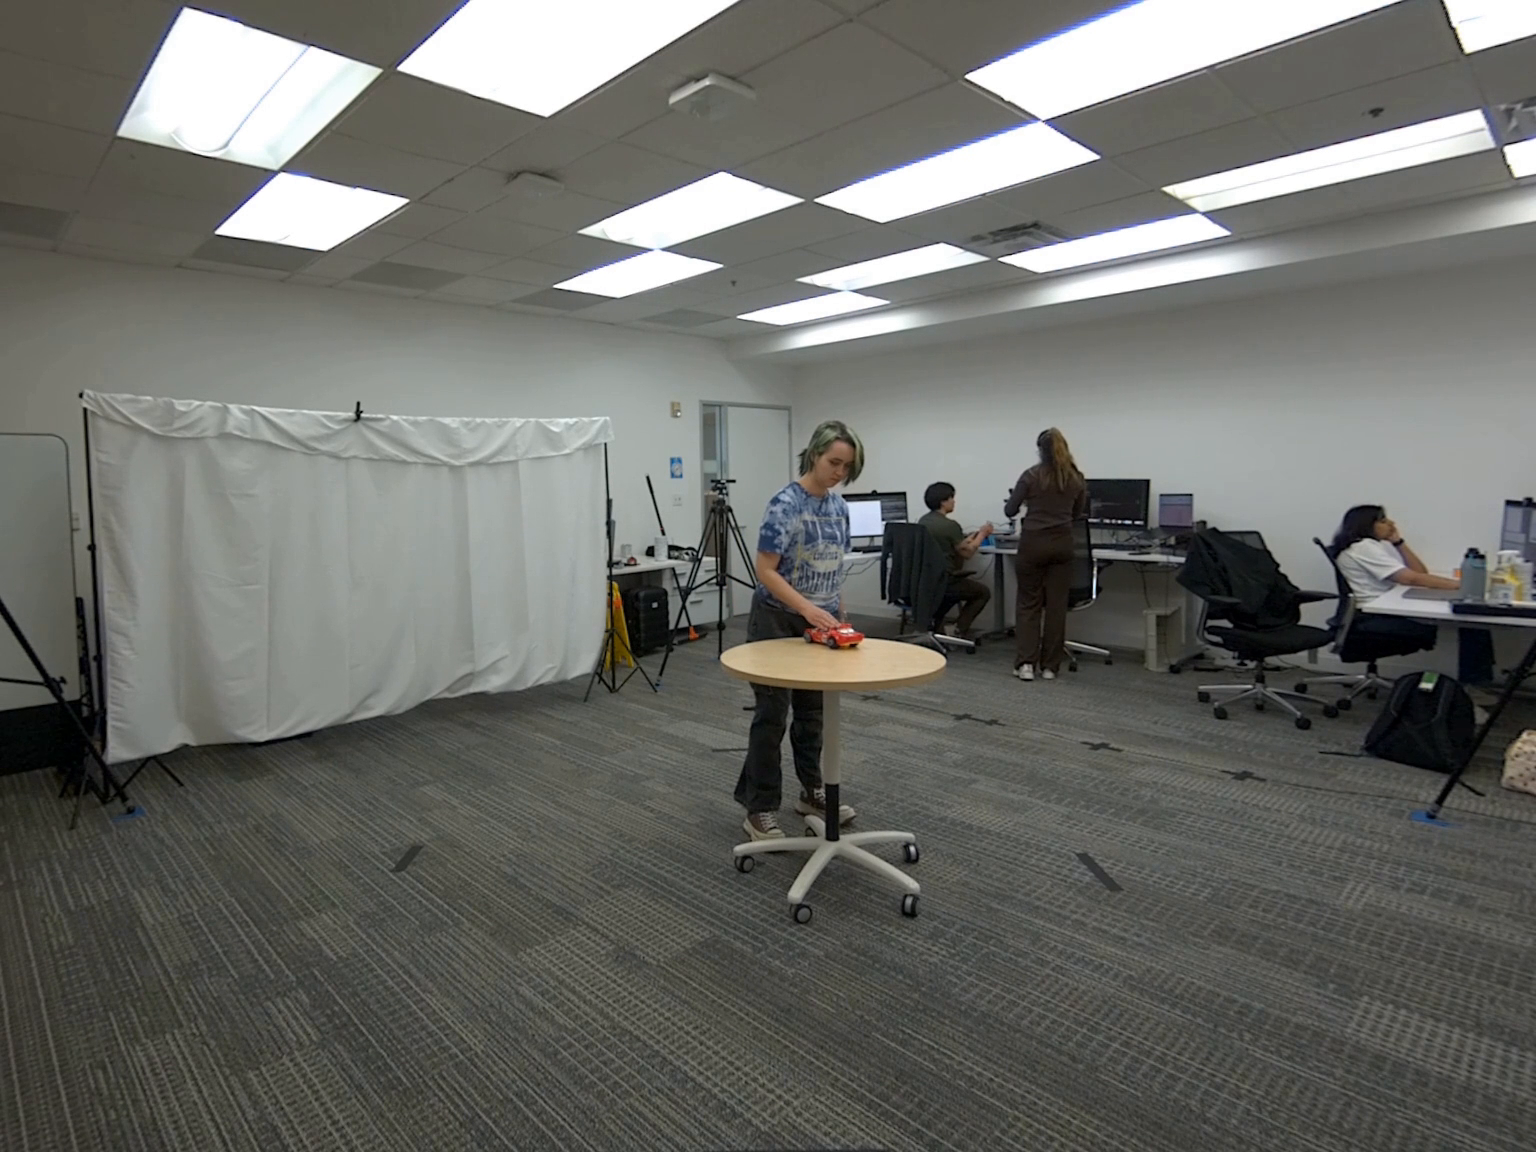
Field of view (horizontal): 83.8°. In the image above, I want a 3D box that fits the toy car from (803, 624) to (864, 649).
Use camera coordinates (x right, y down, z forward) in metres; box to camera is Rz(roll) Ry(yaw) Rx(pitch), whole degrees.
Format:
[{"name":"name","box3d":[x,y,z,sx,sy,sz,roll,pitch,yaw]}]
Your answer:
[{"name":"toy car","box3d":[0.250,0.229,3.138,0.127,0.084,0.259,-3,-5,-31]}]
